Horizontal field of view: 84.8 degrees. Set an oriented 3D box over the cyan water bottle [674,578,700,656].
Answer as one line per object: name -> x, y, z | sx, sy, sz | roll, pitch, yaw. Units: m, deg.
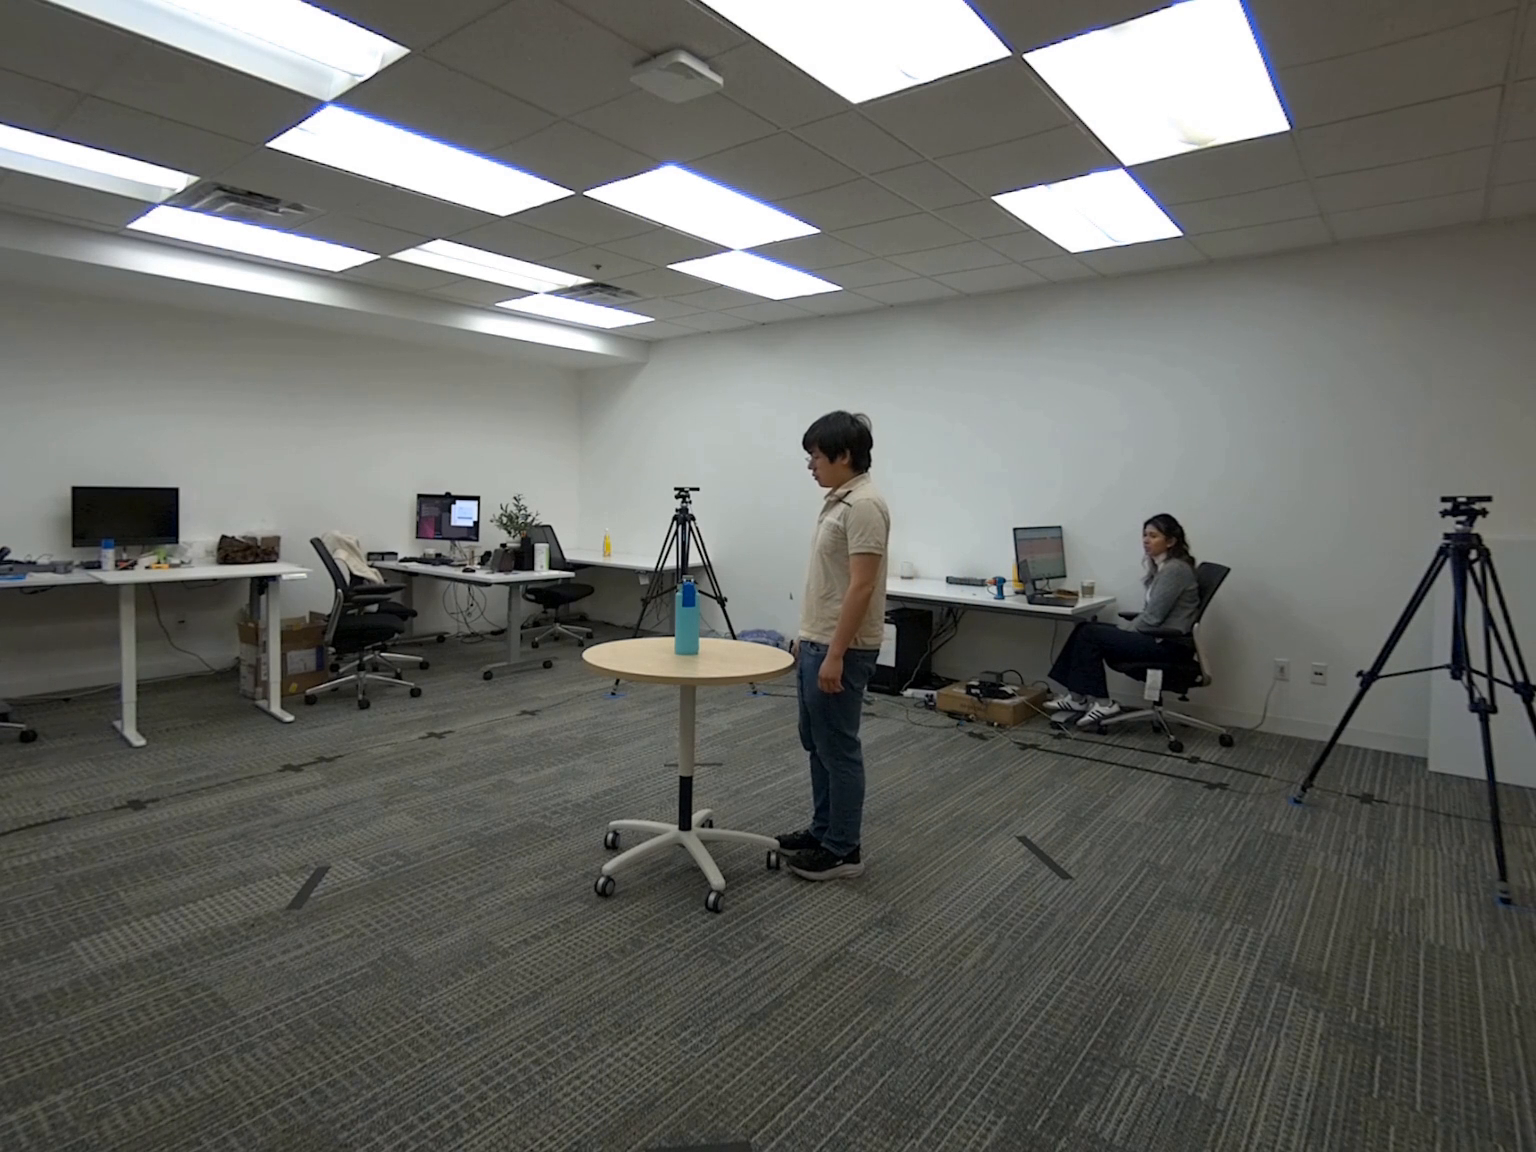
cyan water bottle -> -0.303, 0.141, 3.121 | 0.092, 0.282, 0.093 | 3, 4, -2
